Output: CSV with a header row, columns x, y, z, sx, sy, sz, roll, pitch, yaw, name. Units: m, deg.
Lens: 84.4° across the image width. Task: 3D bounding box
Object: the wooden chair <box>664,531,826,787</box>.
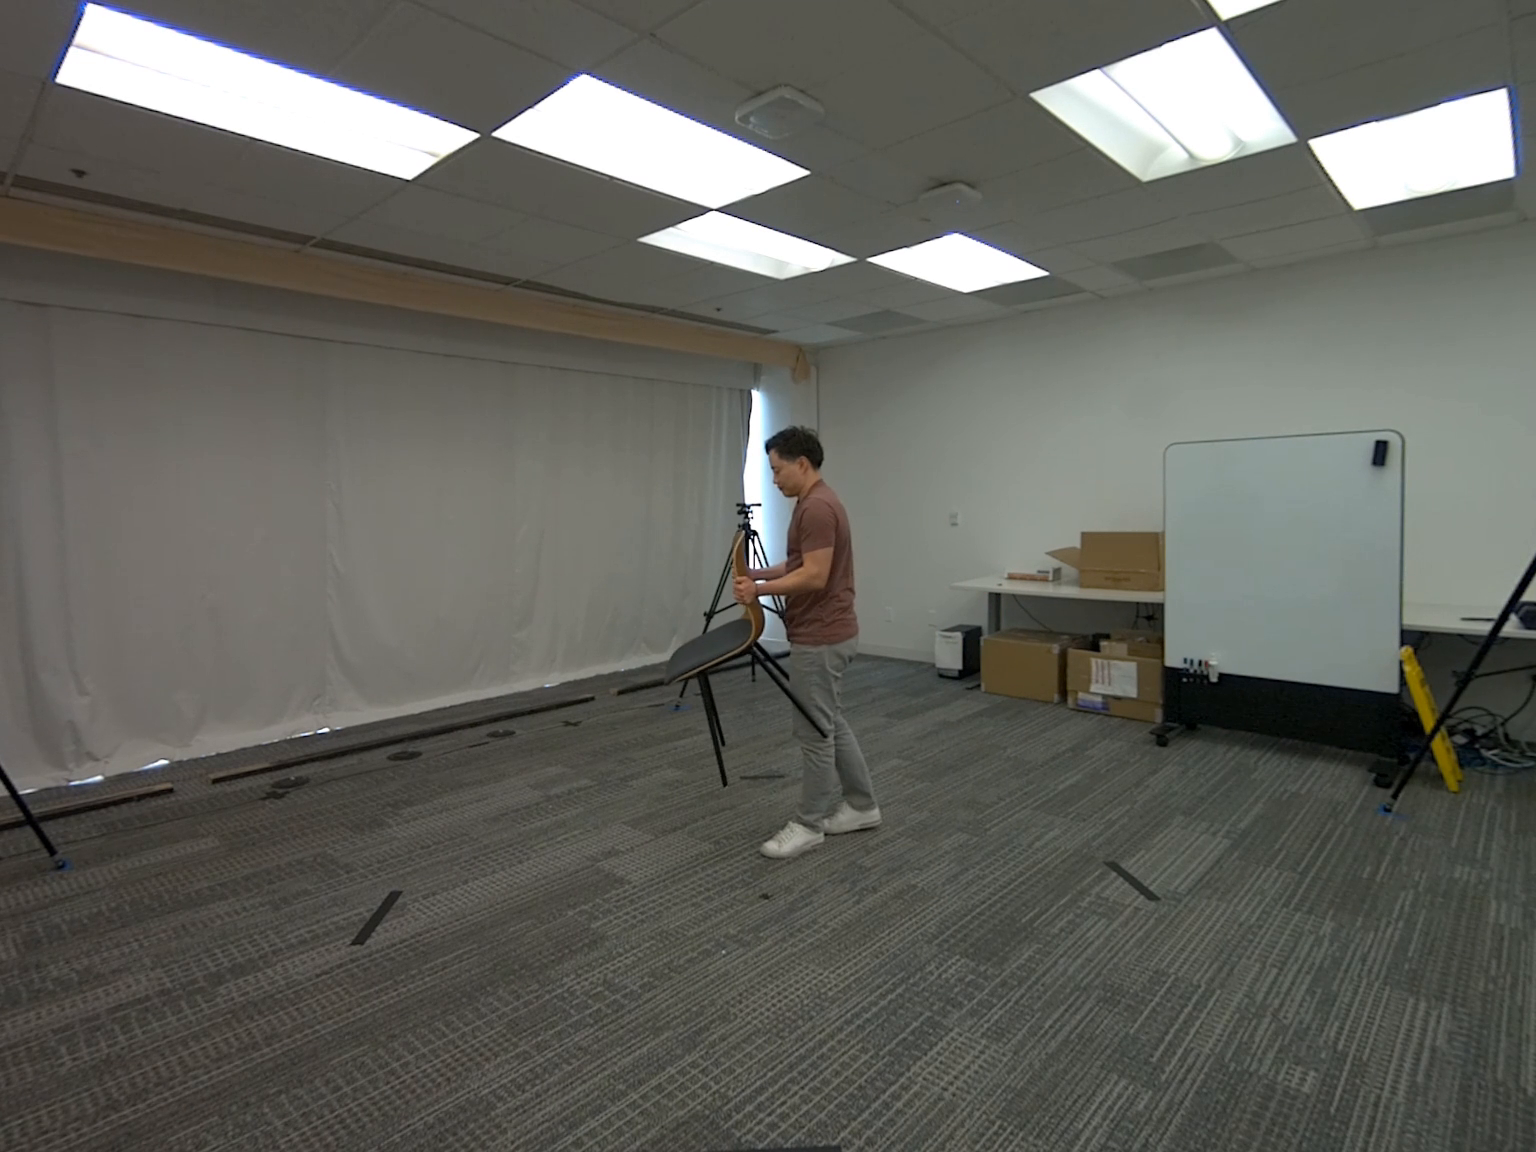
x,y,z,sx,sy,sz,roll,pitch,yaw,name
-0.175,0.322,3.447,0.524,0.870,0.482,-21,9,1,wooden chair
